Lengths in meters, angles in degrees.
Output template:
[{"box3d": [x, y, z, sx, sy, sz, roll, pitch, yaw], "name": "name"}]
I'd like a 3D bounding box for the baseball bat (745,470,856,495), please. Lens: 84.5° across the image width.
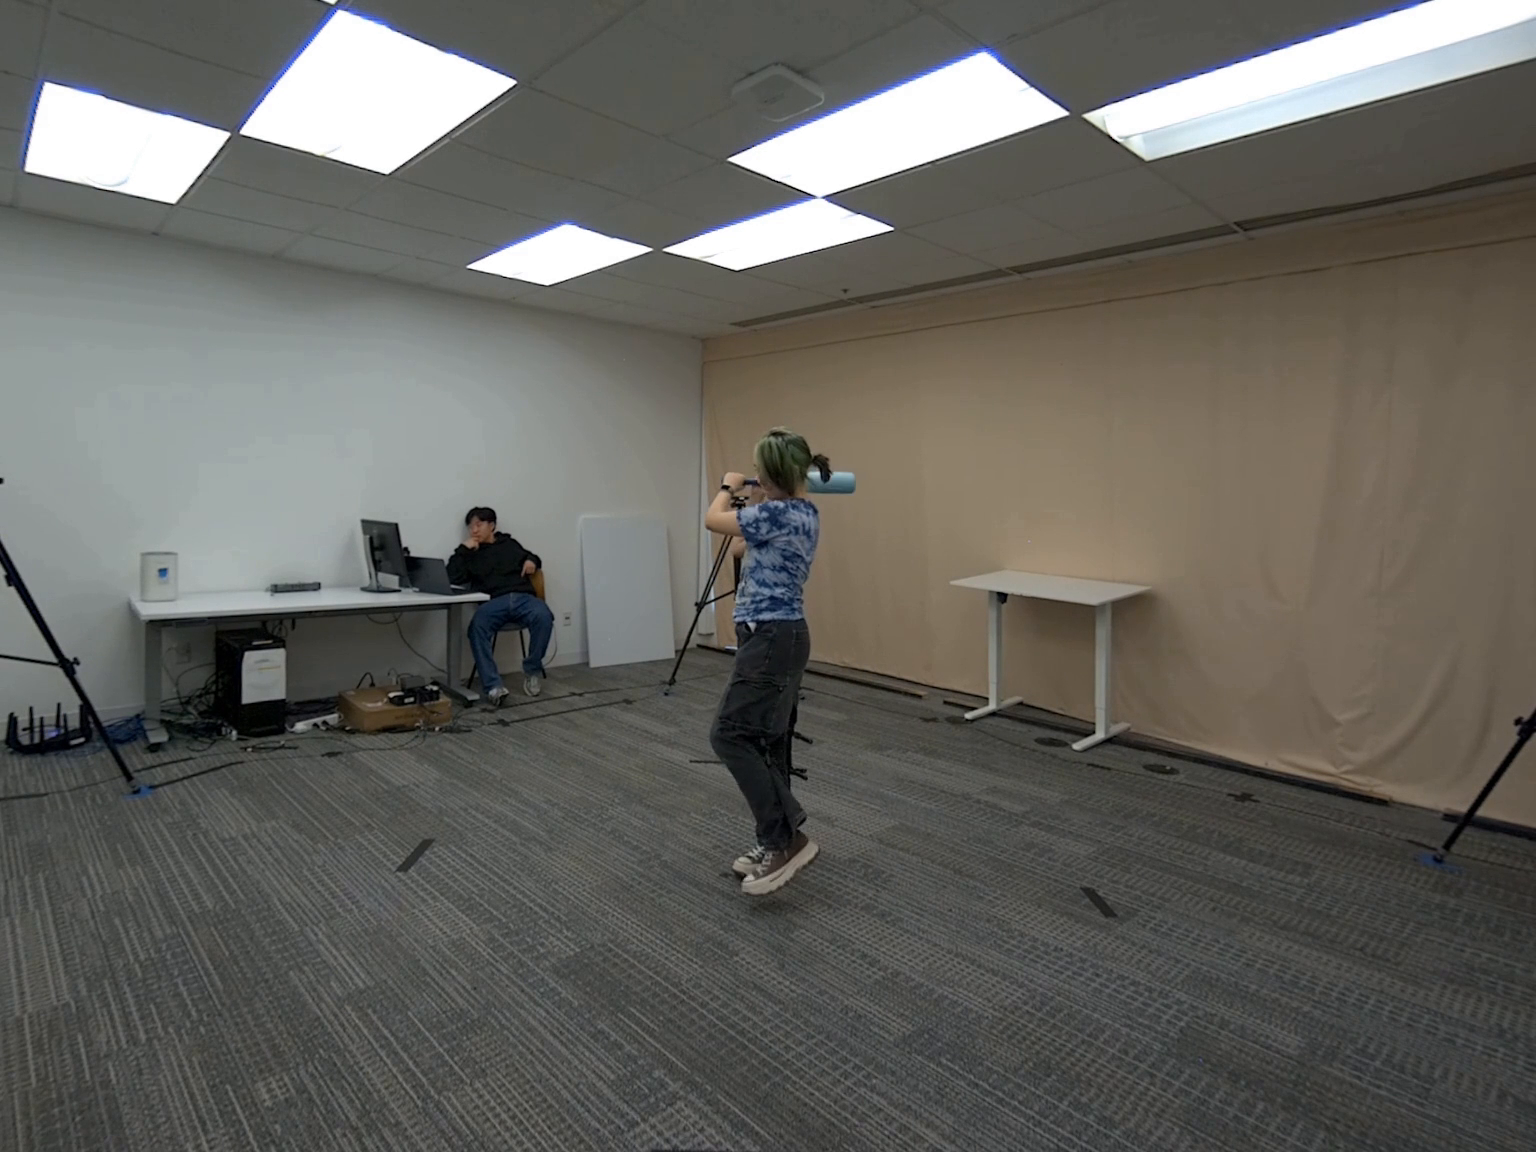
[{"box3d": [0.069, -0.371, 3.369, 0.539, 0.089, 0.090, -1, 5, -8], "name": "baseball bat"}]
